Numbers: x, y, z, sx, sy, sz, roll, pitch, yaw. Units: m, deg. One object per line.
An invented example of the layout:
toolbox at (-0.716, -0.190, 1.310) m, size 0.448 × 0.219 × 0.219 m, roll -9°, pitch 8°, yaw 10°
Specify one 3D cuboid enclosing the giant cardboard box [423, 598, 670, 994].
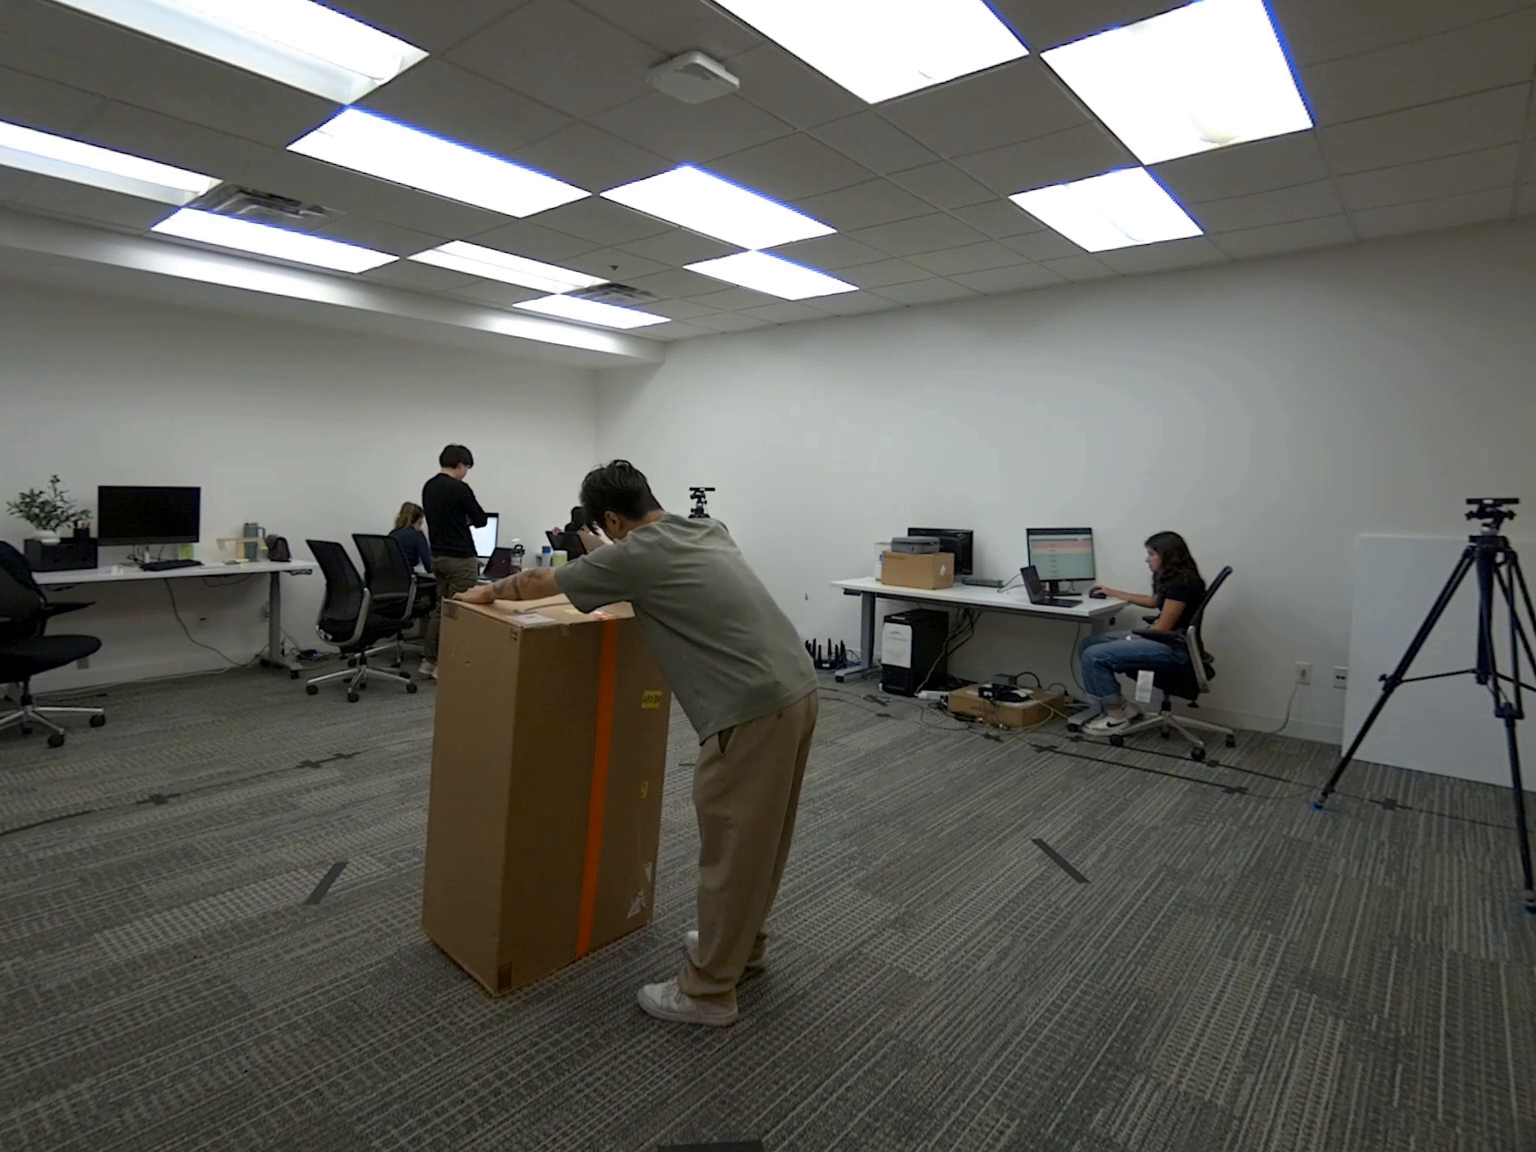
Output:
giant cardboard box at (-0.675, 0.590, 2.585) m, size 0.442 × 1.021 × 0.560 m, roll 10°, pitch 7°, yaw 40°
